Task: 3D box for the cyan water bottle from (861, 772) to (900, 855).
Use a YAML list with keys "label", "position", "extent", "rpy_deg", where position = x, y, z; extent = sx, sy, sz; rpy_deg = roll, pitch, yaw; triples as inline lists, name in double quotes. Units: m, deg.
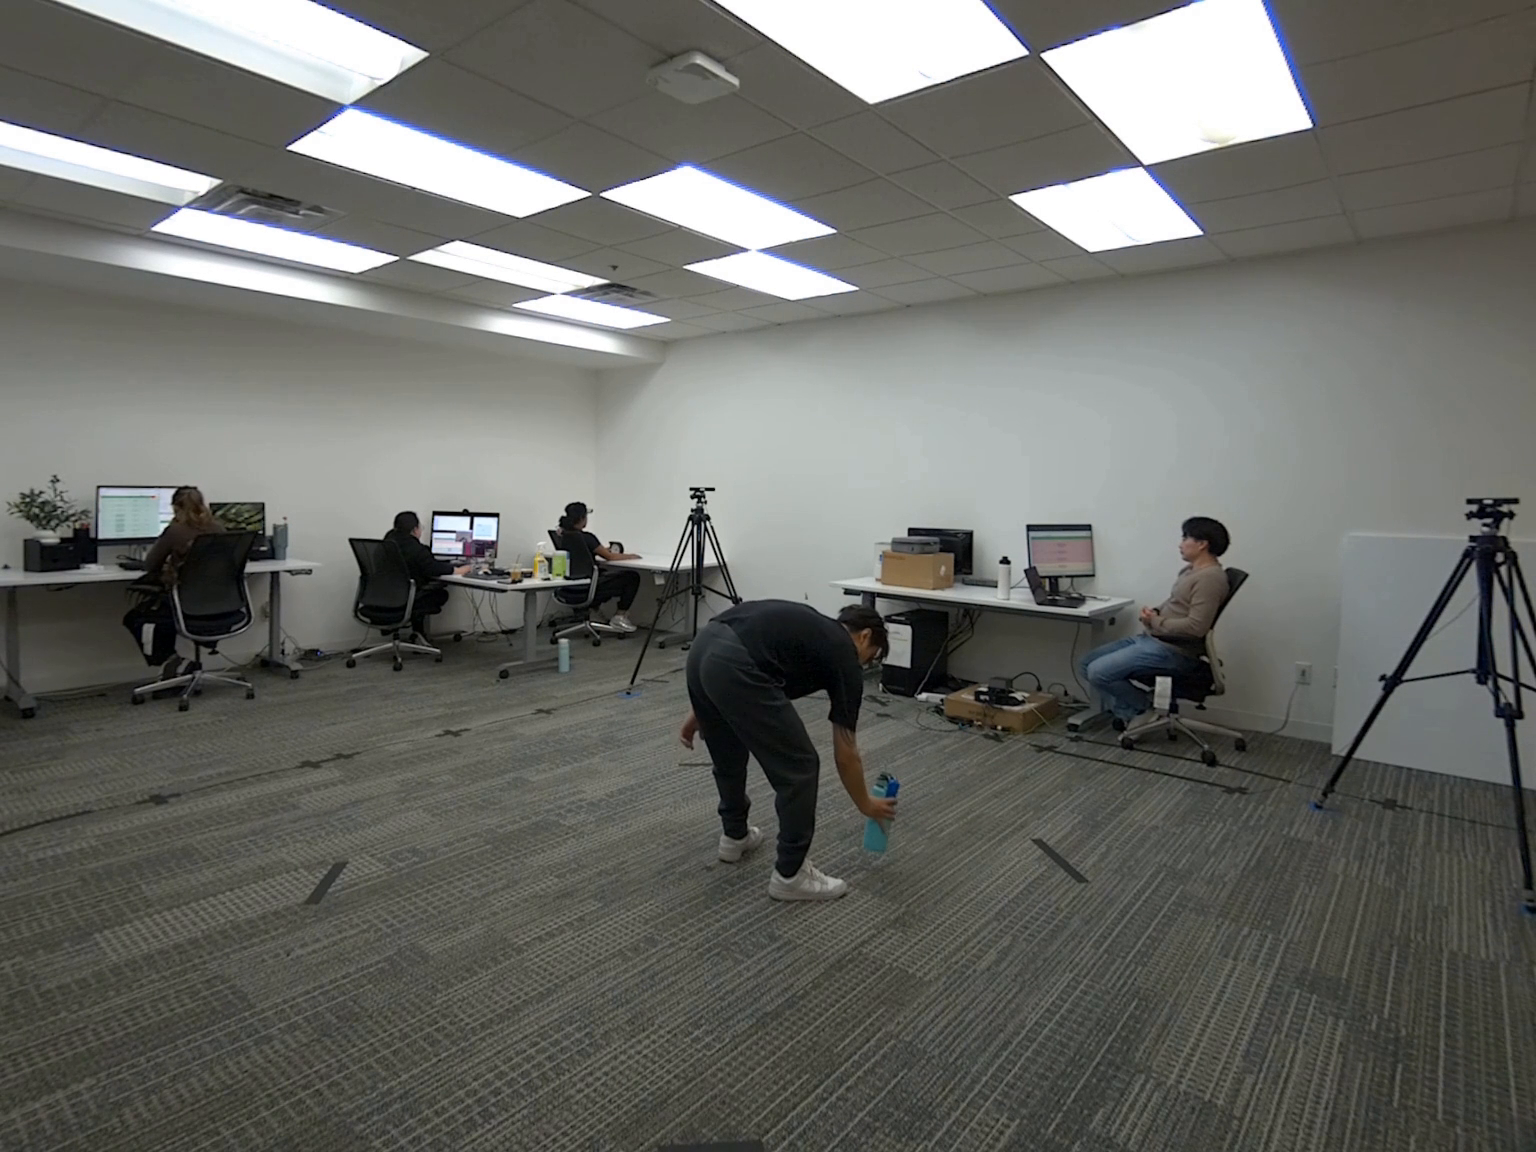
- label: "cyan water bottle"
  position: [0.411, 0.864, 3.151]
  extent: [0.092, 0.284, 0.092]
  rpy_deg: [13, -1, -2]
